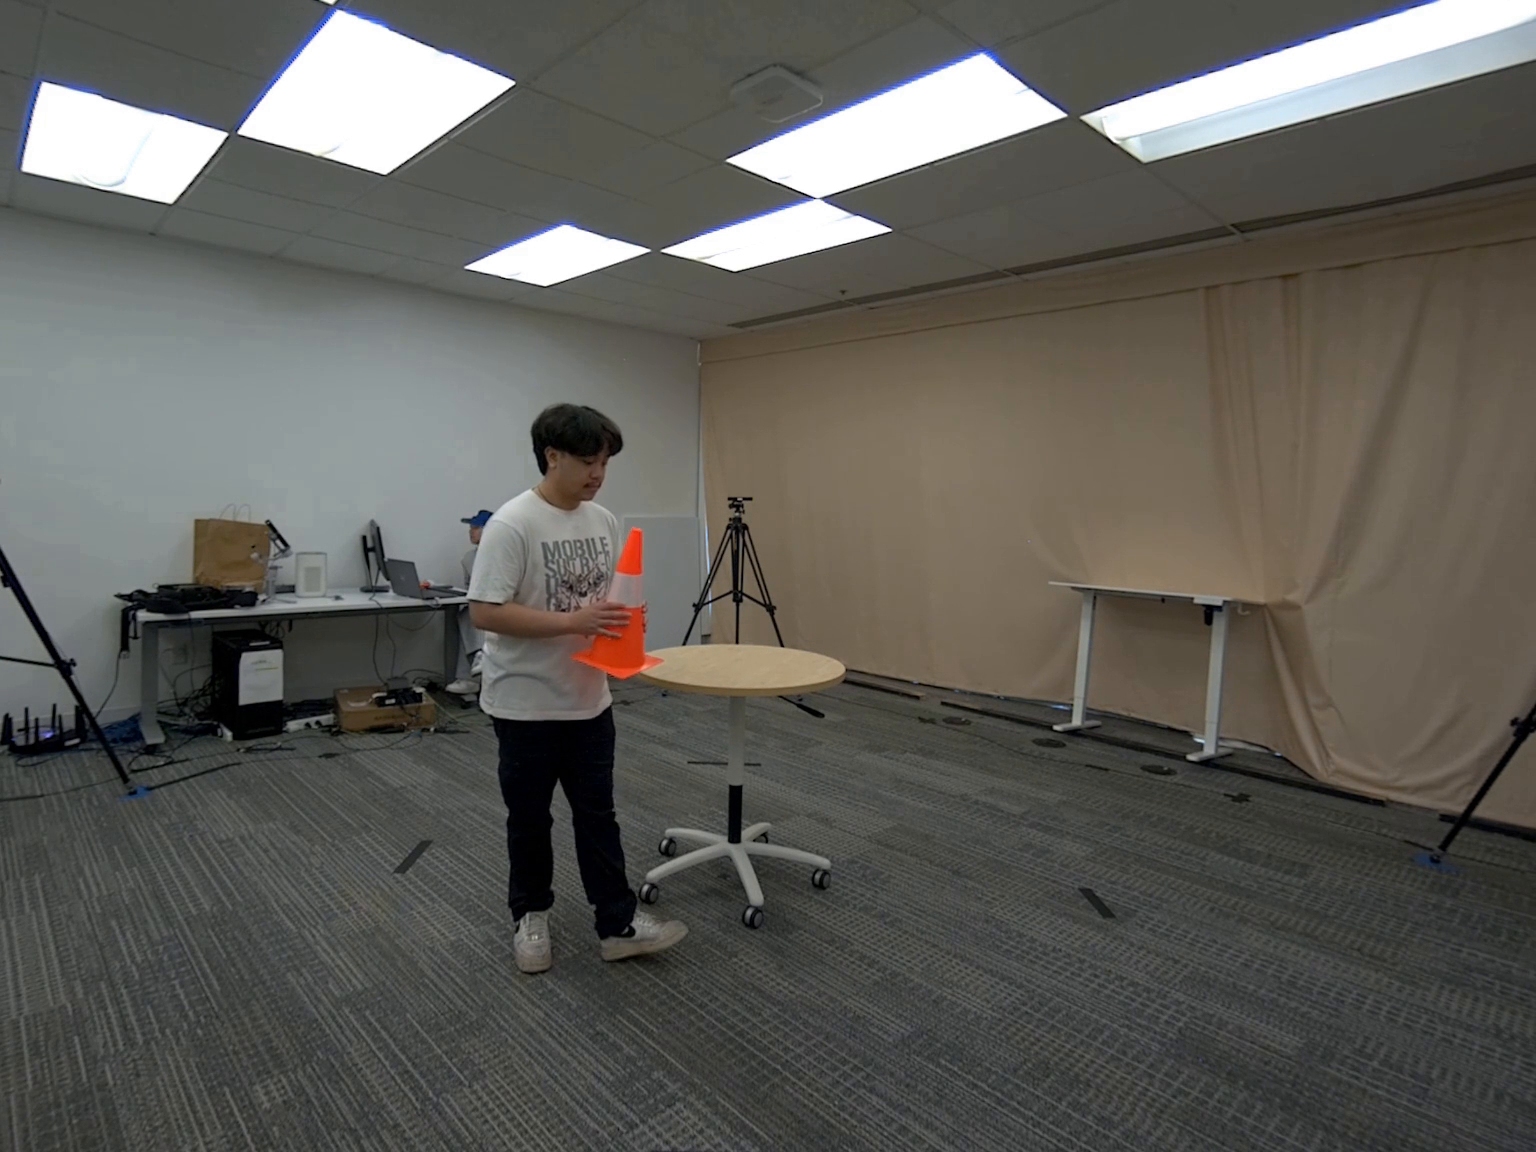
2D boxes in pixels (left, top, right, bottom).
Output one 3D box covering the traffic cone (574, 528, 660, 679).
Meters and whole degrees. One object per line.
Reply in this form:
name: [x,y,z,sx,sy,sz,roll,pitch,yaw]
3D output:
traffic cone: [-0.407,0.058,2.328,0.211,0.381,0.199,18,16,39]
